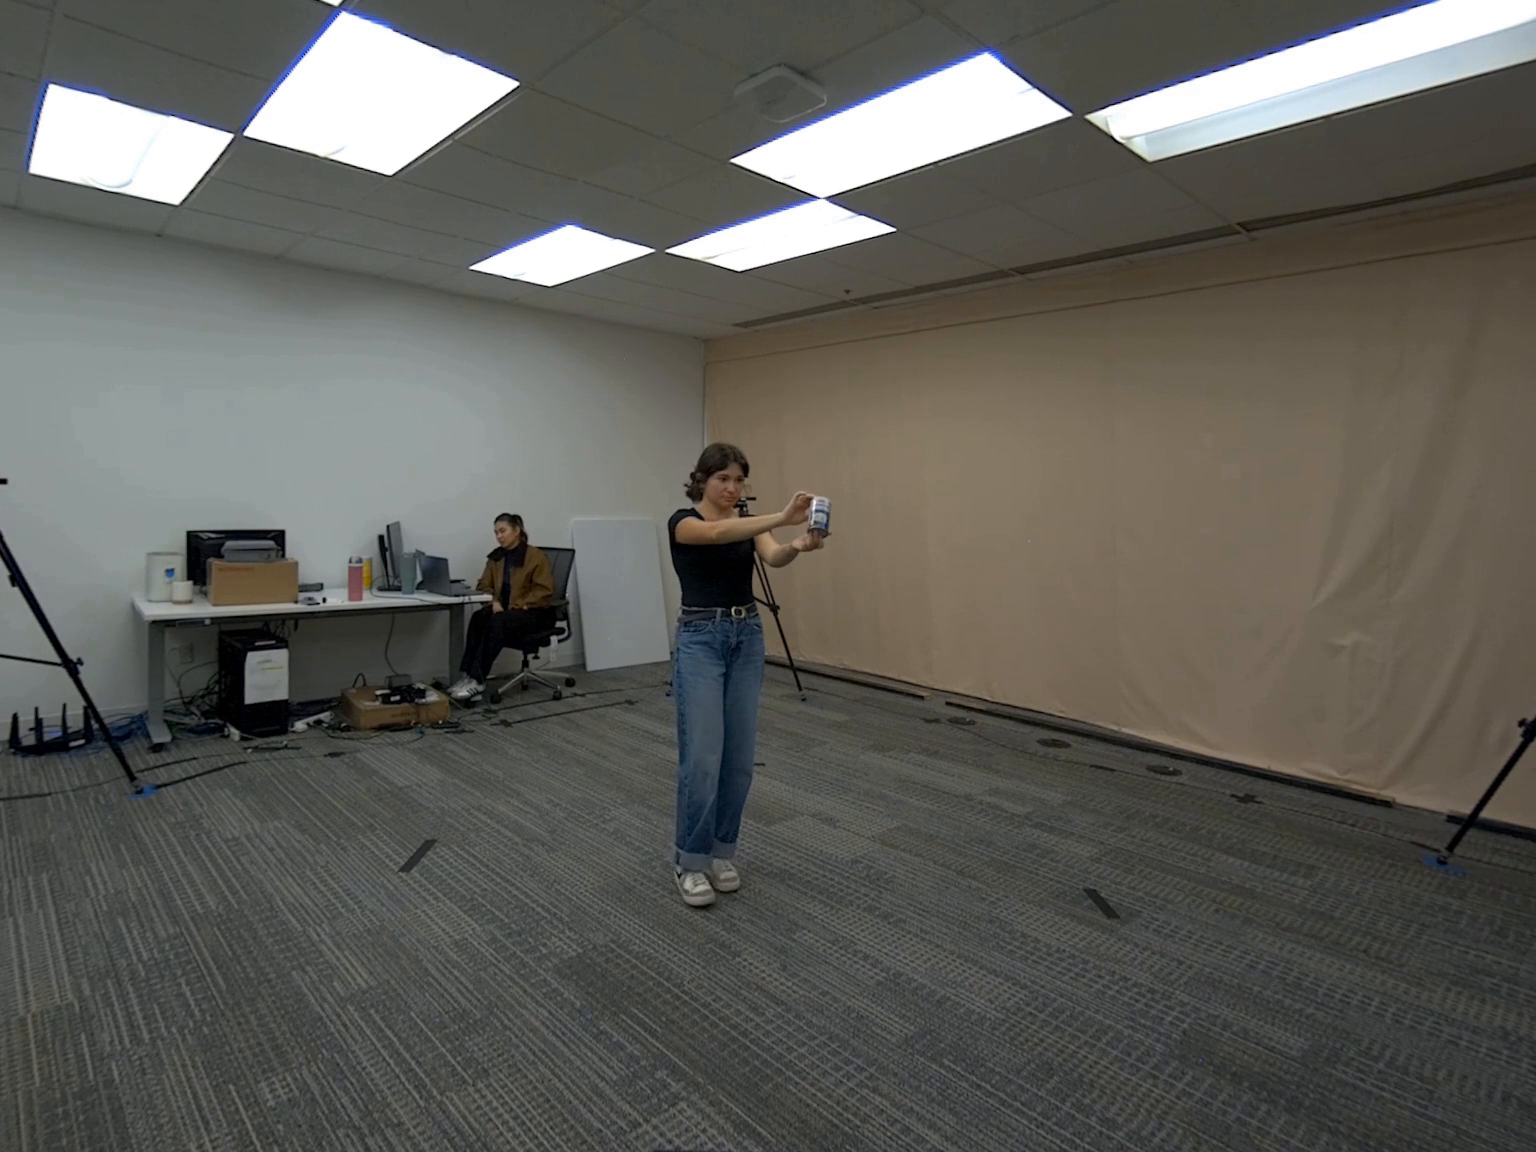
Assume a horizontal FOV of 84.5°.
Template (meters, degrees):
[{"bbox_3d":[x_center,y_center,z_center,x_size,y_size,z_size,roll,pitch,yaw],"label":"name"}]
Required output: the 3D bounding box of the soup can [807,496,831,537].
[{"bbox_3d":[0.155,-0.177,2.585,0.067,0.123,0.066,5,-28,1],"label":"soup can"}]
